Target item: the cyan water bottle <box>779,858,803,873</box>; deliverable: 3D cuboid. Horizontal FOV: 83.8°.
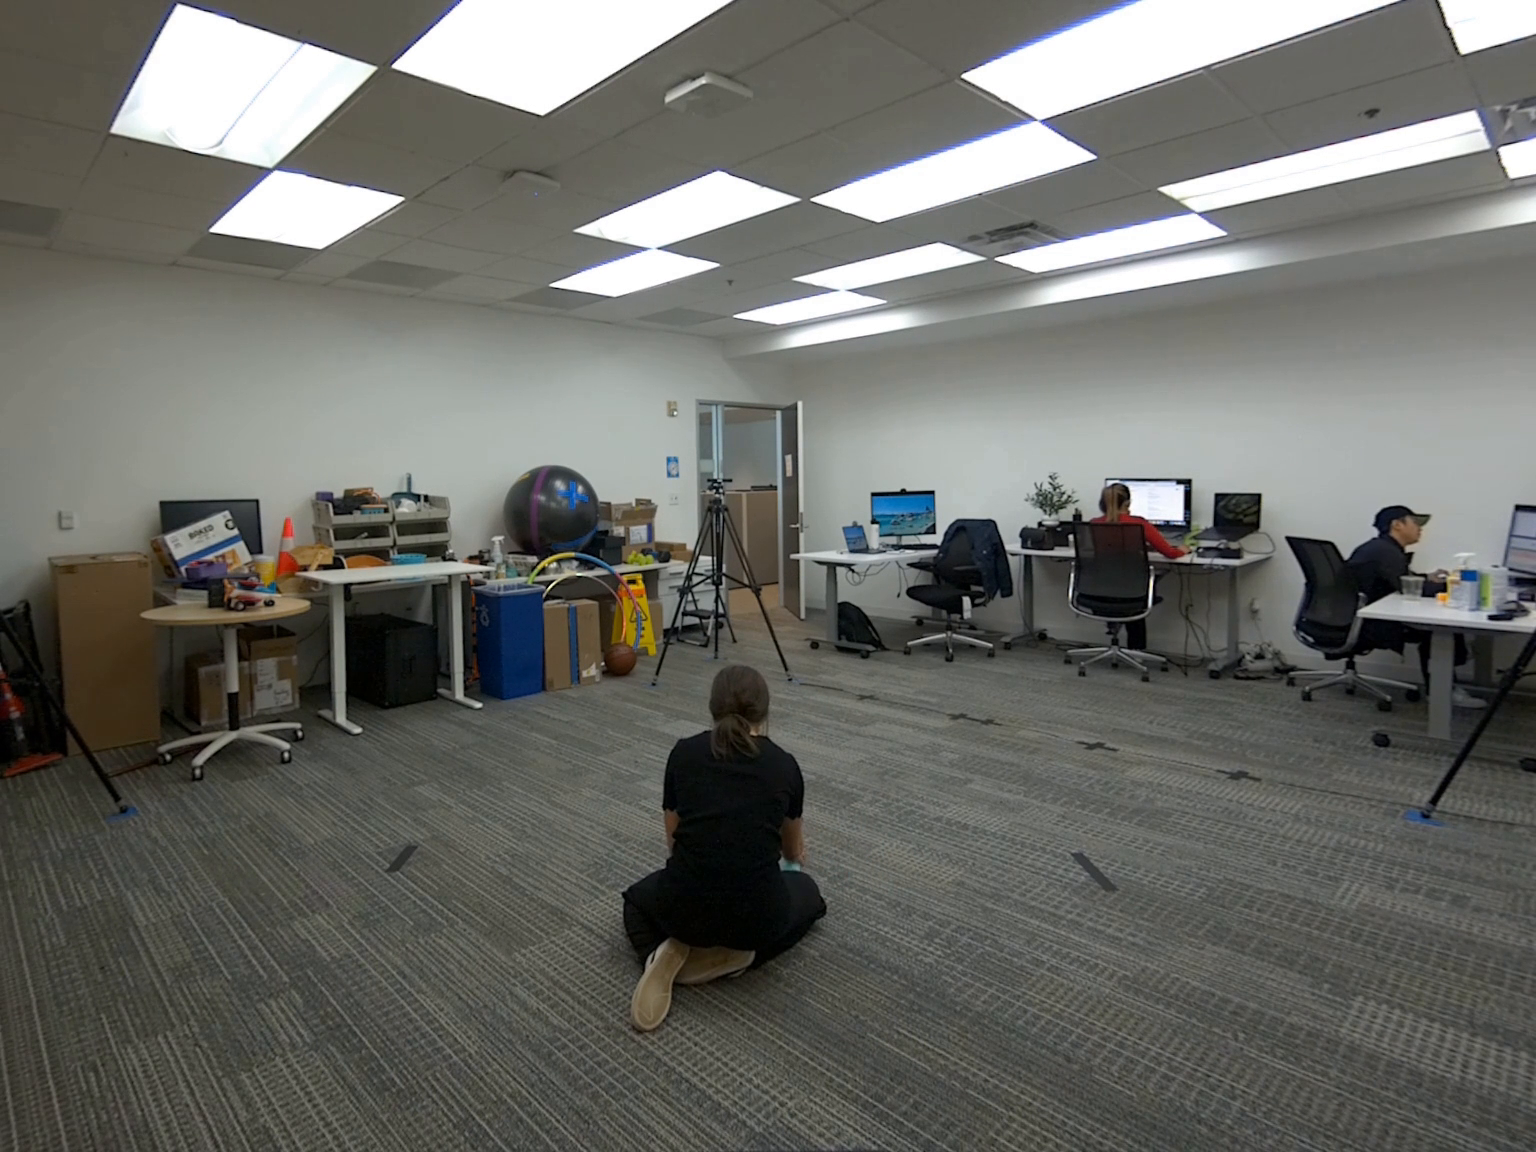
[{"bbox_3d":[0.081,0.947,2.981,0.093,0.090,0.289,-1,34,7],"label":"cyan water bottle"}]
